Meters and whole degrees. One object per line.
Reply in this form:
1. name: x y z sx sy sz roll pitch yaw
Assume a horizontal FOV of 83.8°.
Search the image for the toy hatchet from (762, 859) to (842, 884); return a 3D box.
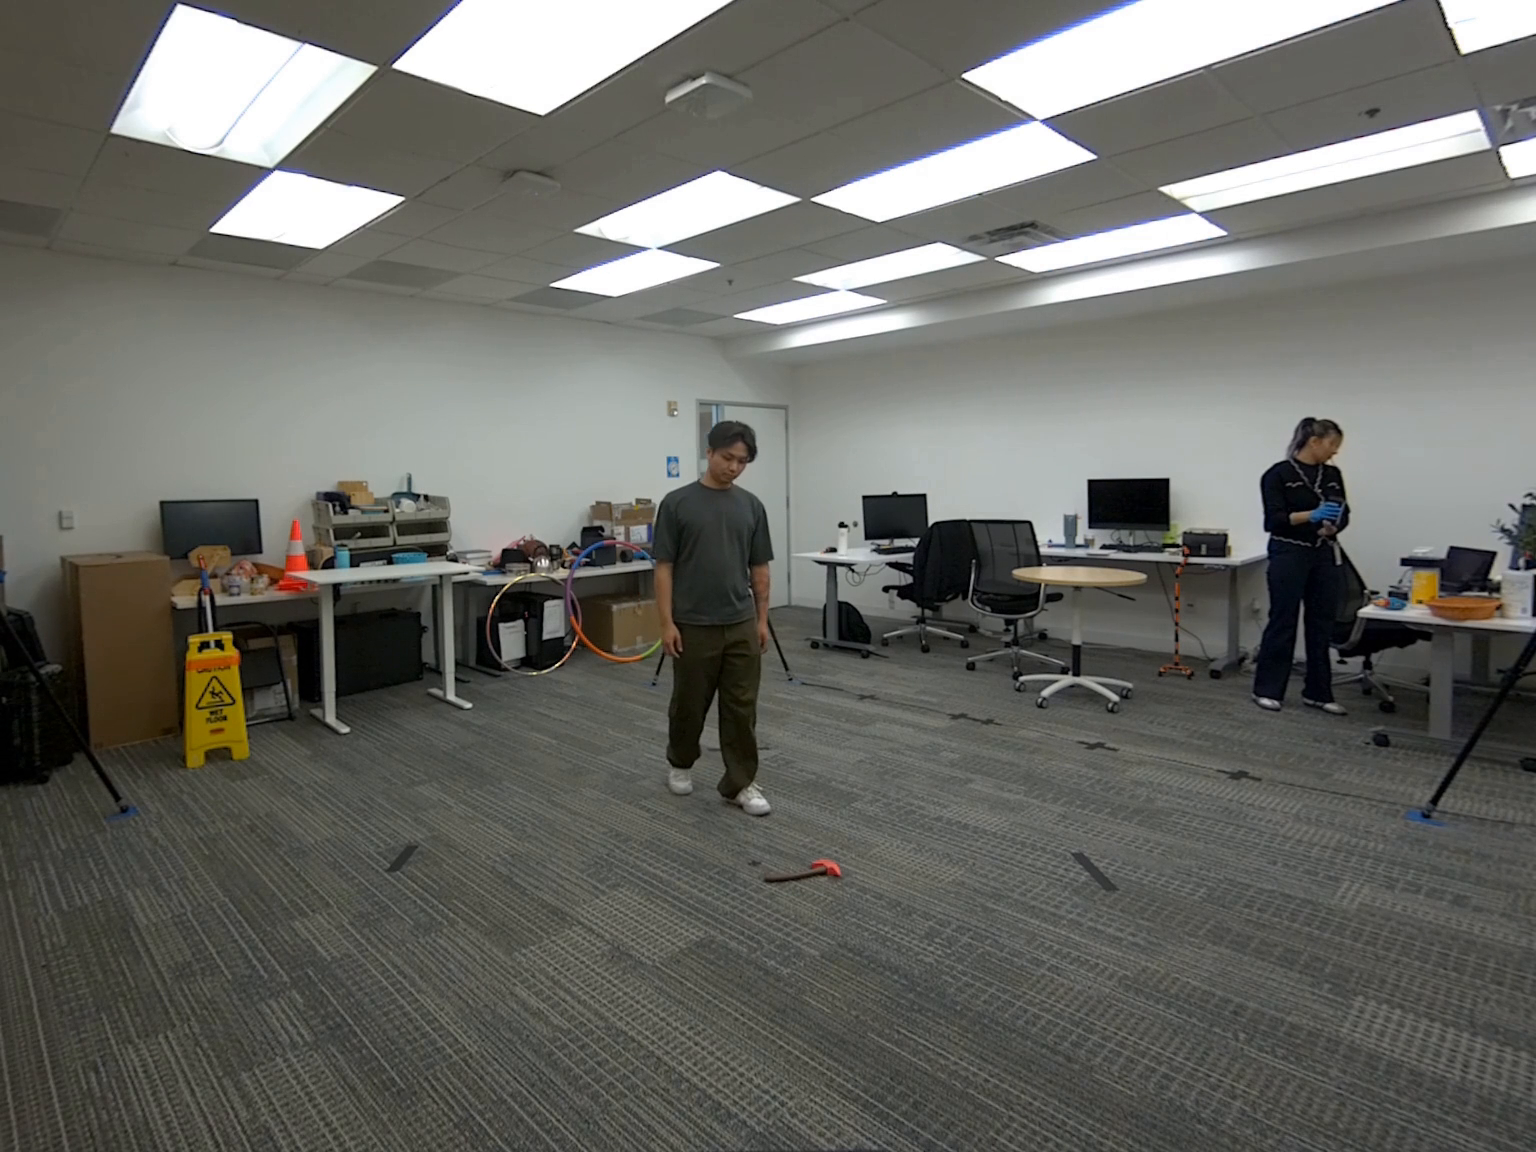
1. toy hatchet: 0.121 1.040 3.022 0.269 0.029 0.132 -3 7 -5
